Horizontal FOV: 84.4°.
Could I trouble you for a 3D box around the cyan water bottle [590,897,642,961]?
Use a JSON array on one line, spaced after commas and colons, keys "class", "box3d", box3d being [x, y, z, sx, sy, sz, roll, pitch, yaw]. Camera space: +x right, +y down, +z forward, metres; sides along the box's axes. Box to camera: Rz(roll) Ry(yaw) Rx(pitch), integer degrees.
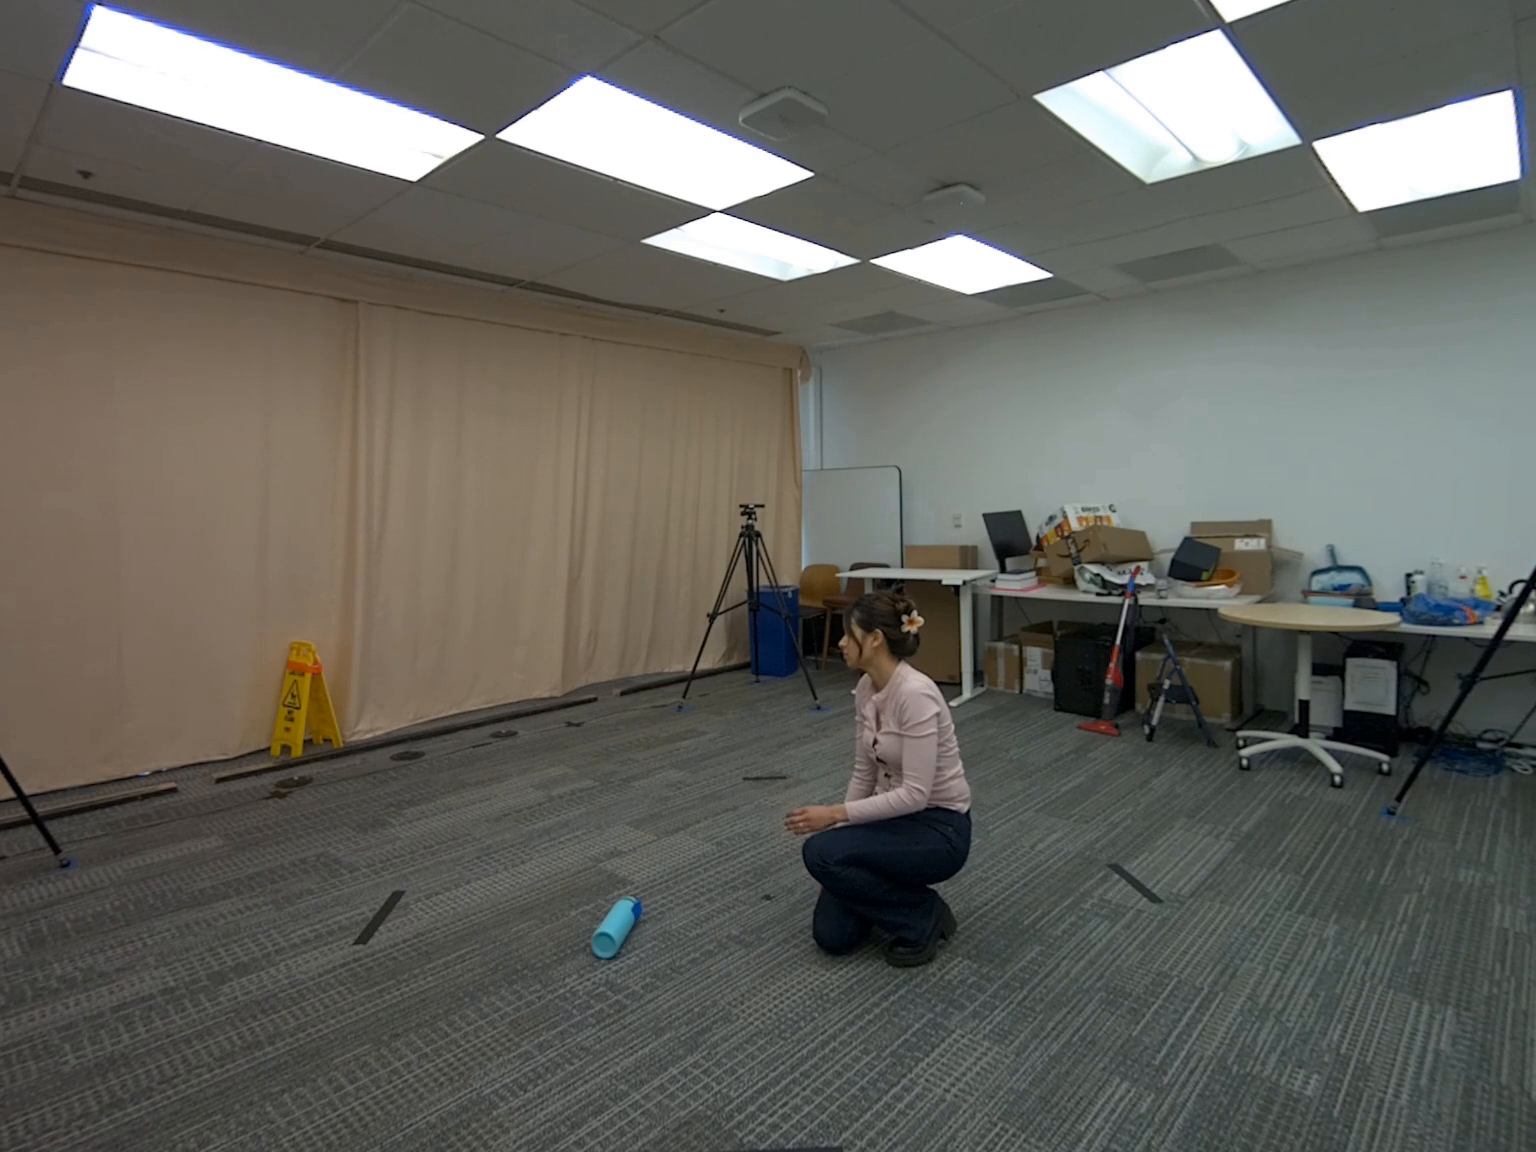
[{"class": "cyan water bottle", "box3d": [-0.483, 1.133, 2.726, 0.093, 0.092, 0.281, 0, 4, 9]}]
